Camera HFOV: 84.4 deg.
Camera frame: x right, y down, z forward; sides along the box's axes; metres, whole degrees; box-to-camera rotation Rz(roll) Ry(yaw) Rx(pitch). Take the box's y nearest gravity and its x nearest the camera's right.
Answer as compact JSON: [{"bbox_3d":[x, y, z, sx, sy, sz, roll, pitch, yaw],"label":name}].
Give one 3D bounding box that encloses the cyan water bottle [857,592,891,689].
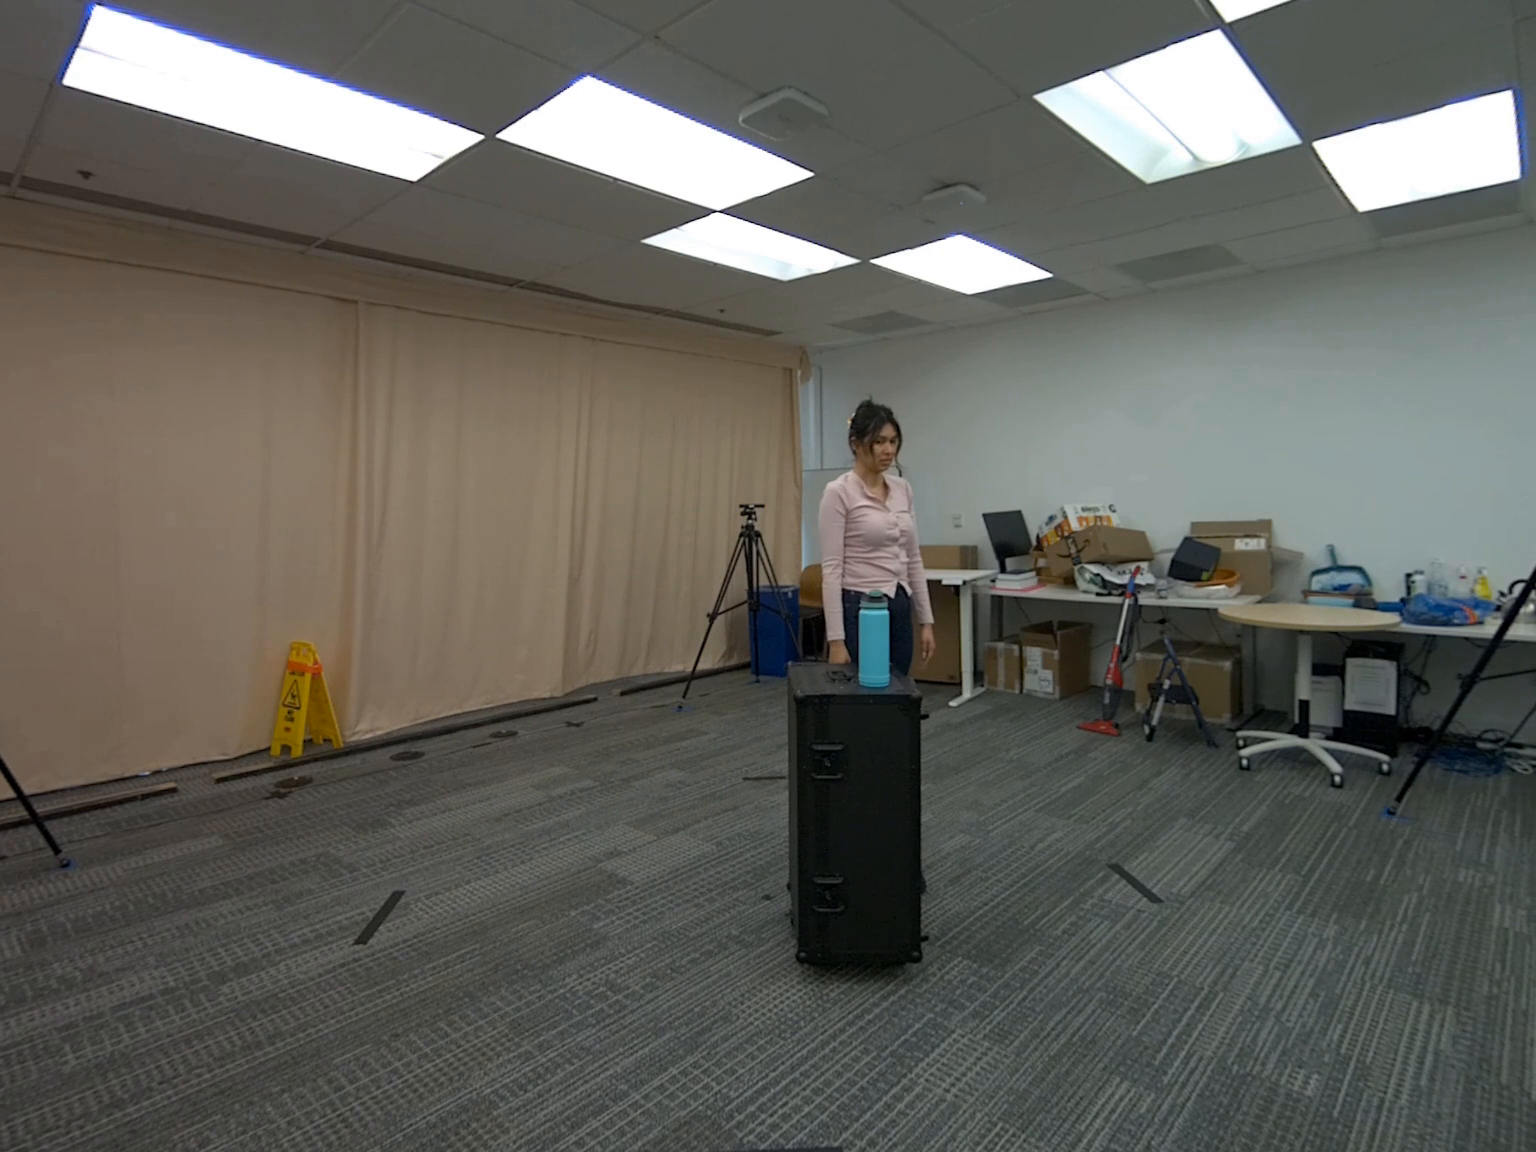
[{"bbox_3d":[0.315,0.183,2.515,0.092,0.283,0.092,-5,2,-2],"label":"cyan water bottle"}]
